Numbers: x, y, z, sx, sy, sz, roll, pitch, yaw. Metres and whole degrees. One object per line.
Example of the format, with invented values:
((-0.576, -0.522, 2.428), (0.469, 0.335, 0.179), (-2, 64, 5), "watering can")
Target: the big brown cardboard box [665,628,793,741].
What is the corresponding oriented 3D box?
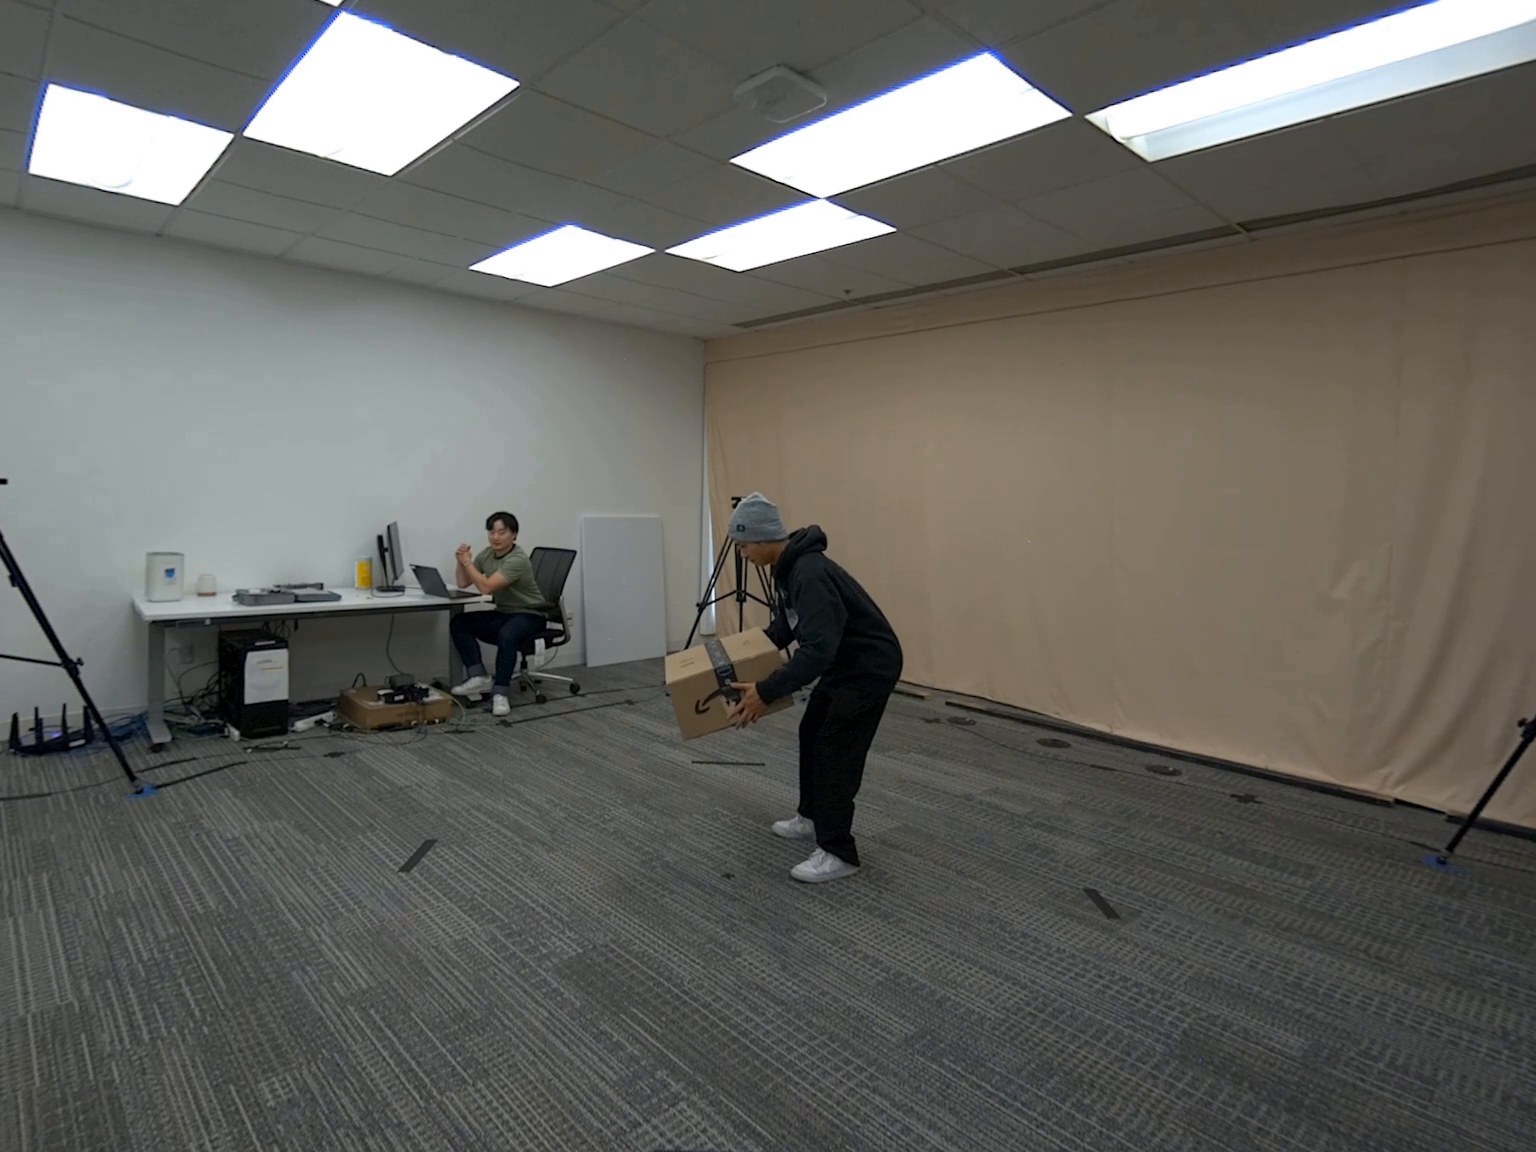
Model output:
((-0.174, 0.398, 3.240), (0.416, 0.232, 0.593), (-17, 5, -5), "big brown cardboard box")
